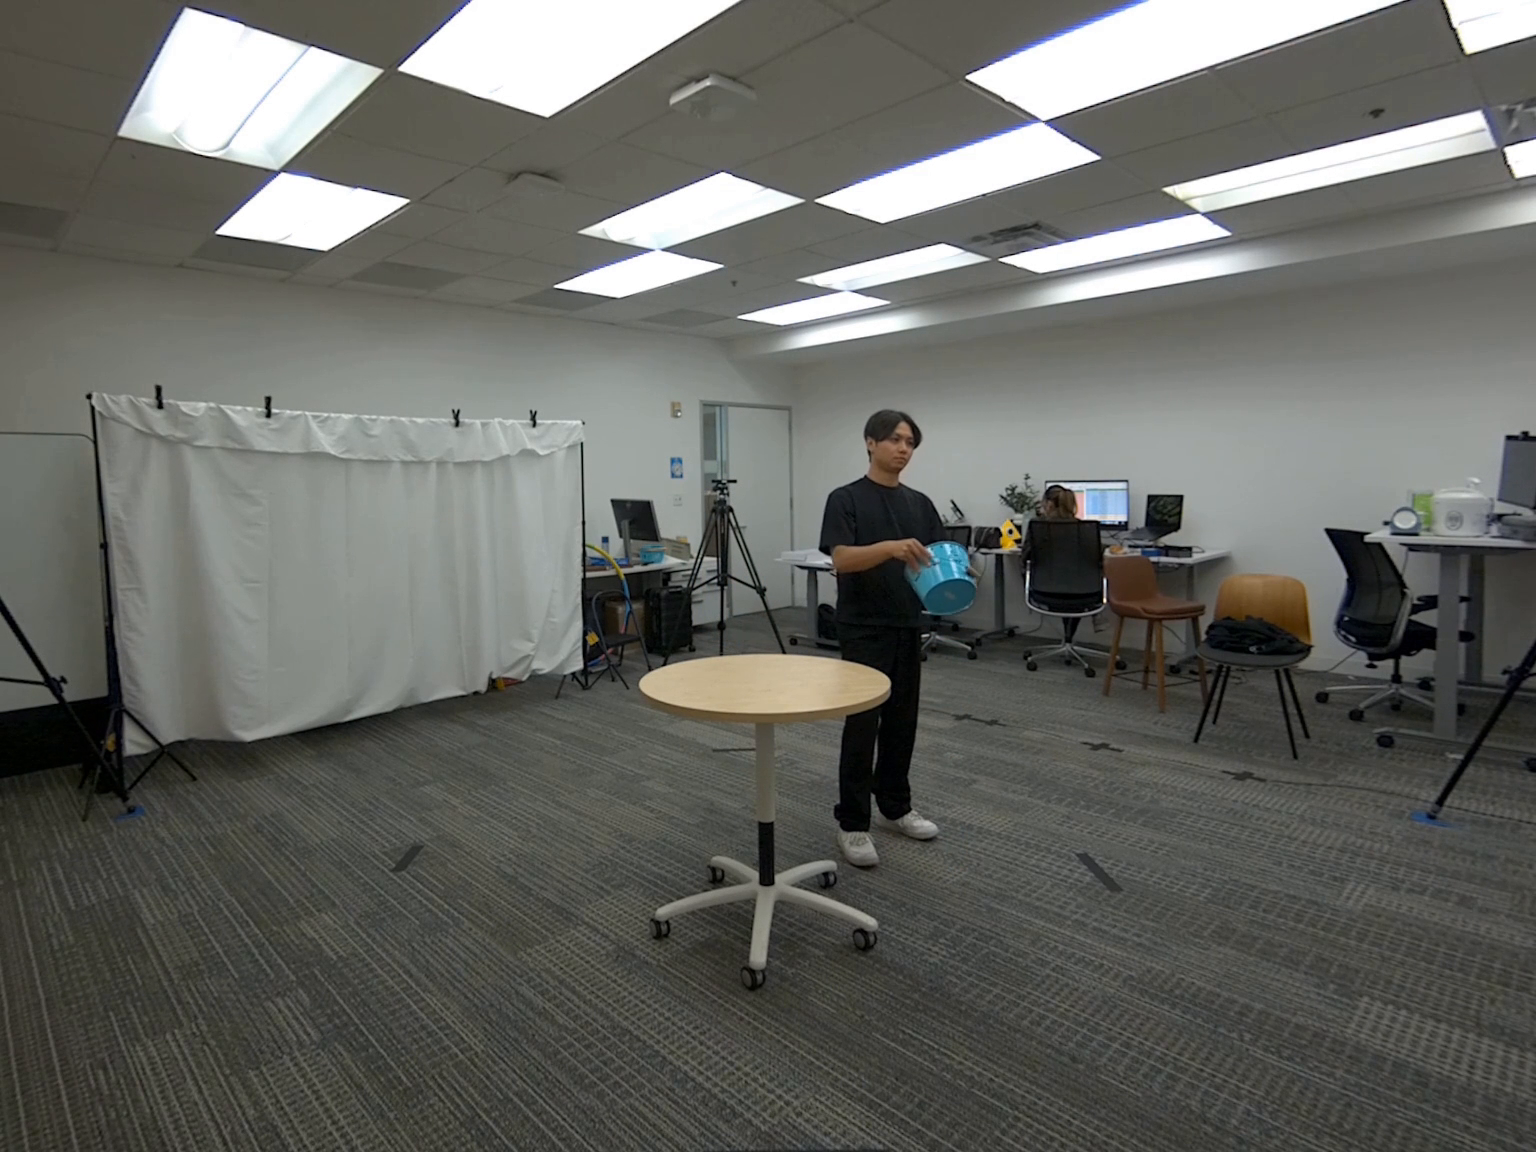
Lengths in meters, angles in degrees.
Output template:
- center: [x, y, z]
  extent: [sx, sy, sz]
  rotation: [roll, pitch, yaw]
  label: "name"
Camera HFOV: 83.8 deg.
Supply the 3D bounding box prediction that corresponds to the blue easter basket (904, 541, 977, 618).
- center: [0.608, 0.017, 2.955]
  extent: [0.243, 0.237, 0.160]
  rotation: [-1, 45, -3]
  label: "blue easter basket"
